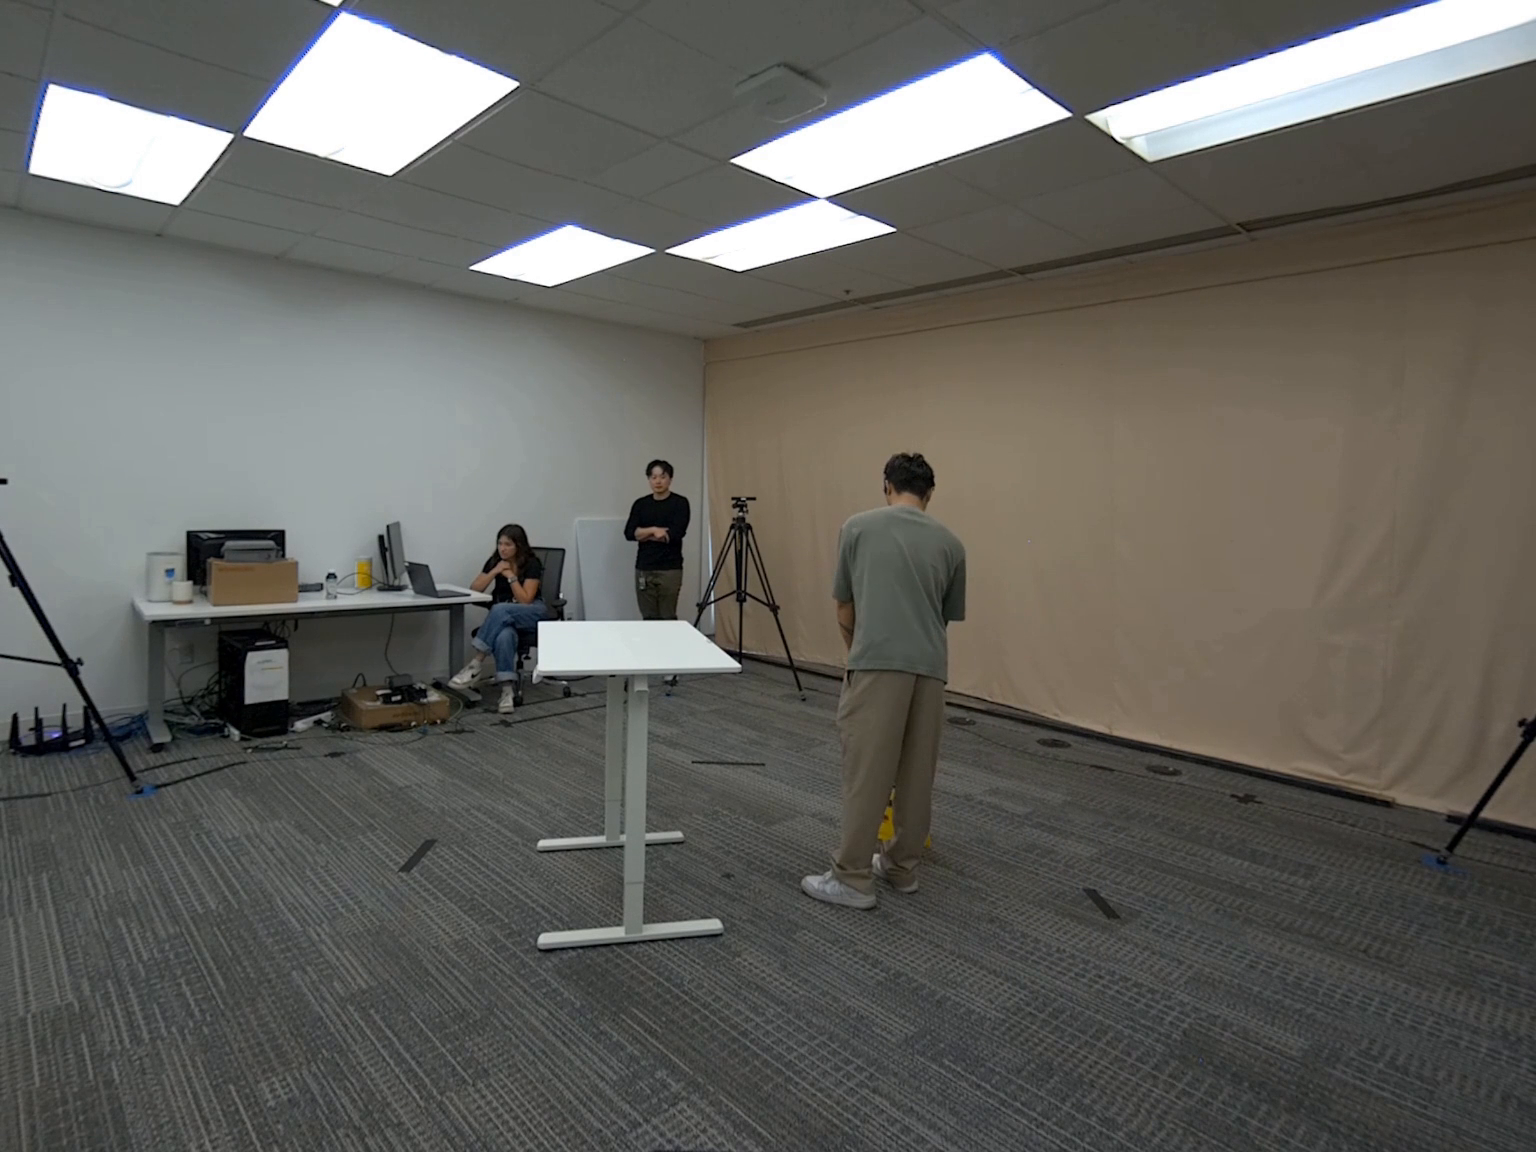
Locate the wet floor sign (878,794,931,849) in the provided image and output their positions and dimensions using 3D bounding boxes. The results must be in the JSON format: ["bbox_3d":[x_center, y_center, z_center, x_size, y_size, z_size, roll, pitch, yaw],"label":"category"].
[{"bbox_3d":[0.480,0.780,3.370,0.288,0.645,0.284,4,3,30],"label":"wet floor sign"}]
